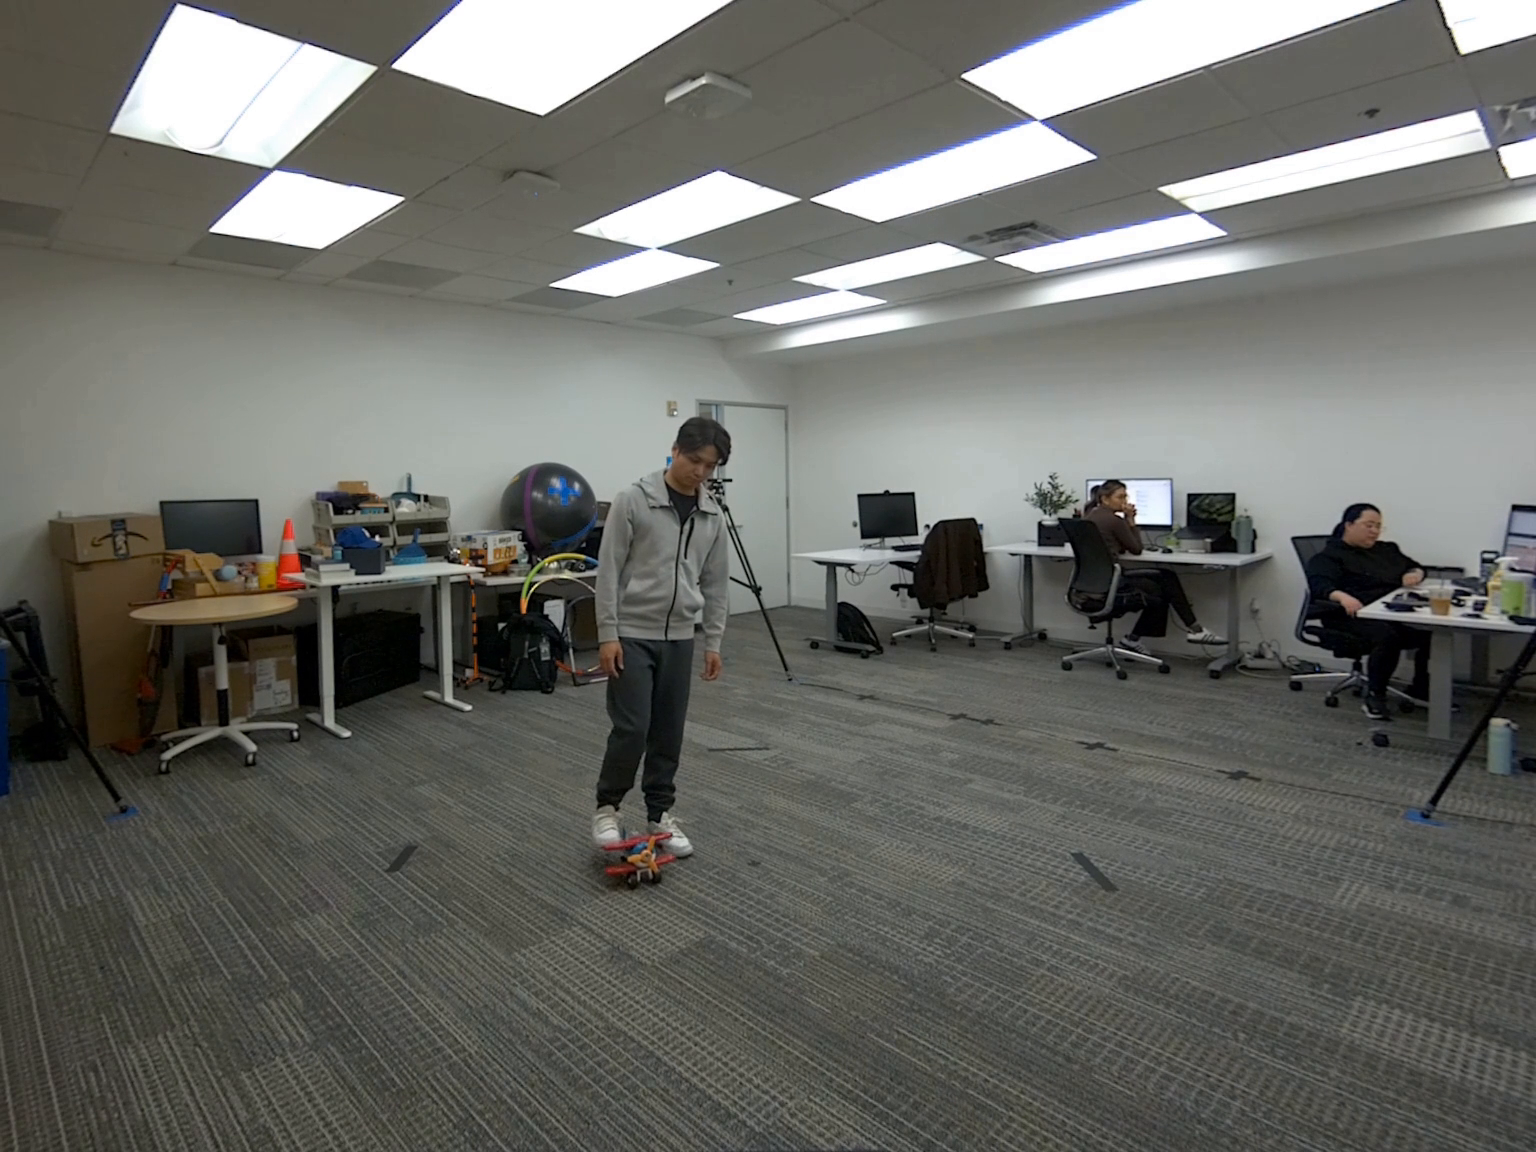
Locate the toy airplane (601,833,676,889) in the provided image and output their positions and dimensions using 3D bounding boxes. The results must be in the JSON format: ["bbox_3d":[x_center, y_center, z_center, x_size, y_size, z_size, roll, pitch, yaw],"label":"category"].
[{"bbox_3d":[-0.482,0.993,3.020,0.267,0.155,0.245,5,9,37],"label":"toy airplane"}]
